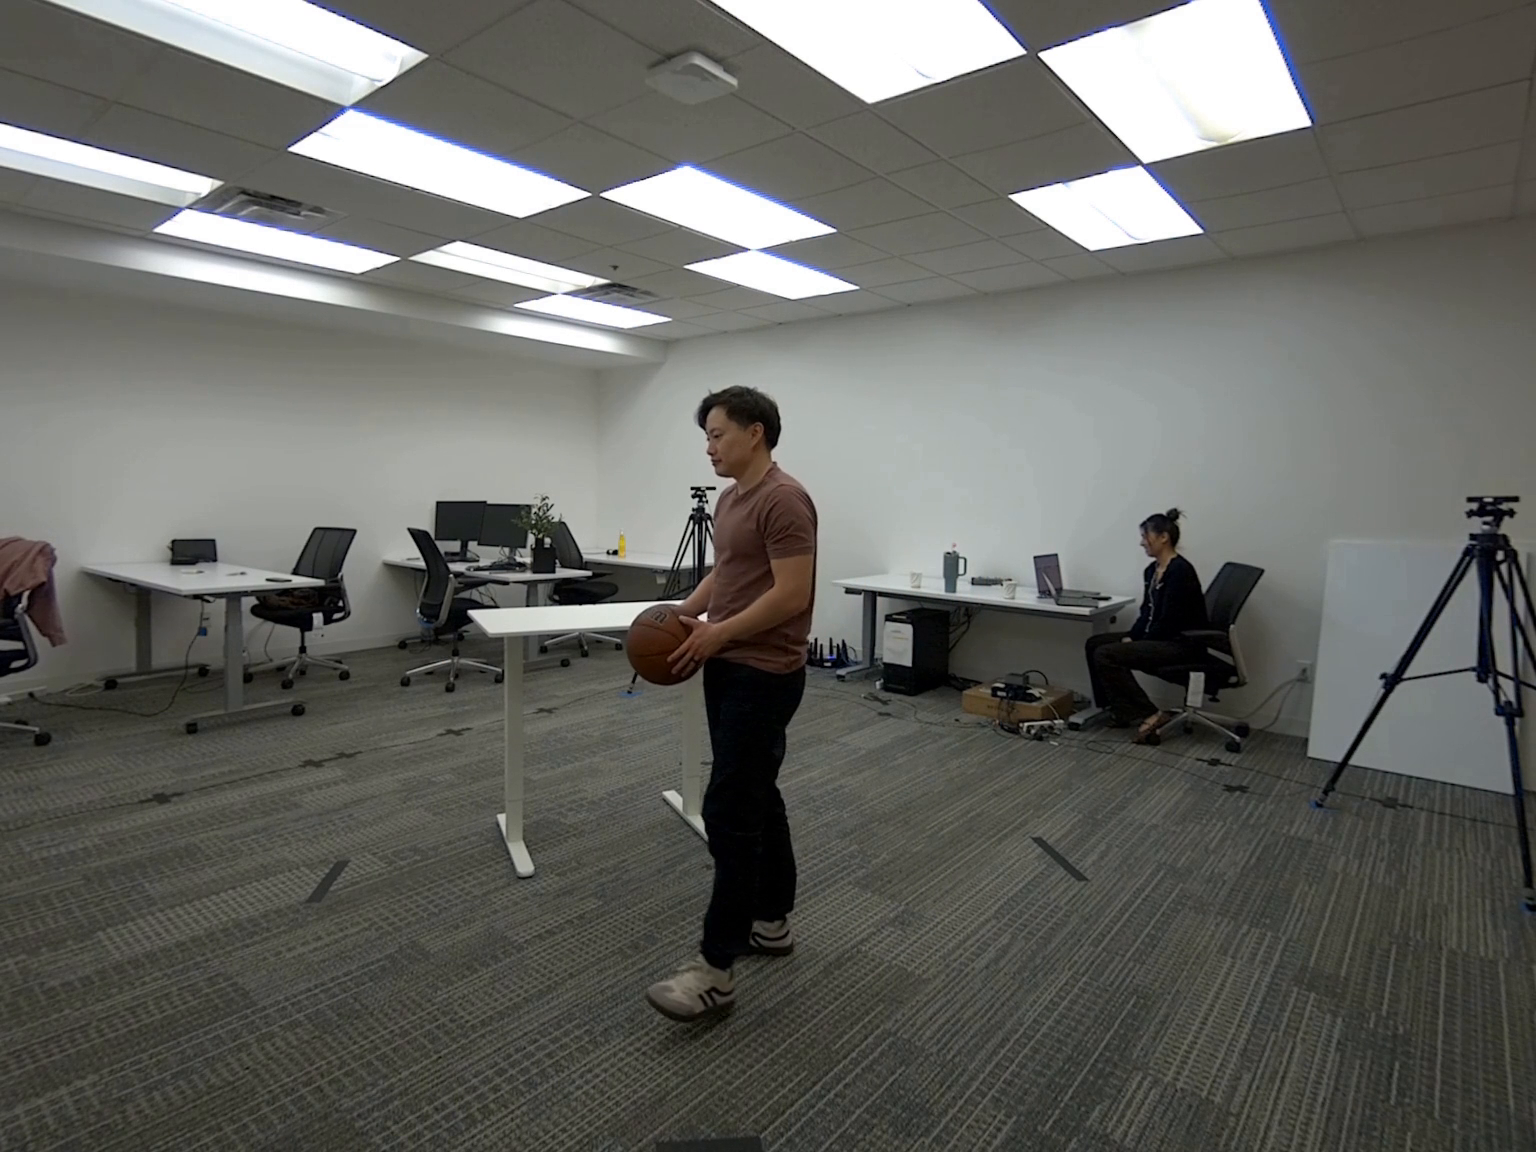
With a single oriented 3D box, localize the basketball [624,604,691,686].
[{"bbox_3d":[-0.301,0.195,2.467,0.235,0.235,0.237,1,4,-2],"label":"basketball"}]
